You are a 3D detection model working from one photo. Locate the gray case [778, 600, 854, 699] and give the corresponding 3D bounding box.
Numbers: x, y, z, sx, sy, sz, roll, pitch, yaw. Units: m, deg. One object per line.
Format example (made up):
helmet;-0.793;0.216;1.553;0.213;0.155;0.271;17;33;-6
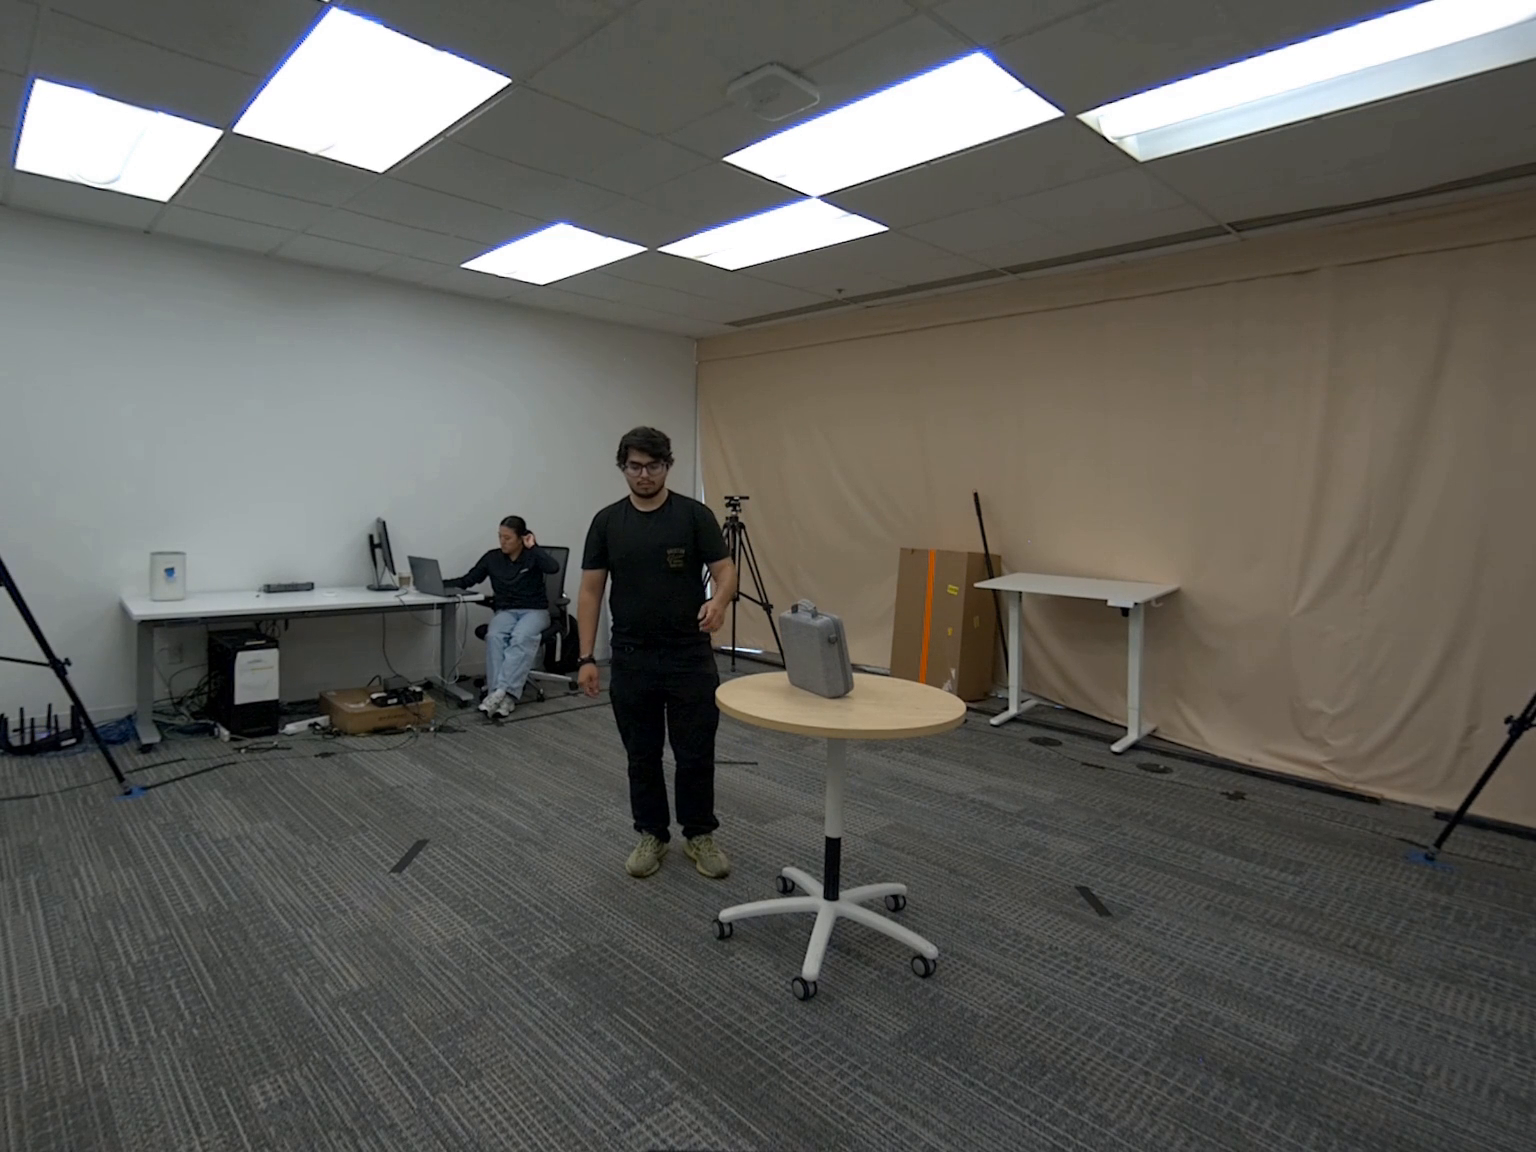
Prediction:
gray case;0.143;0.237;2.667;0.103;0.258;0.263;-13;11;-26
